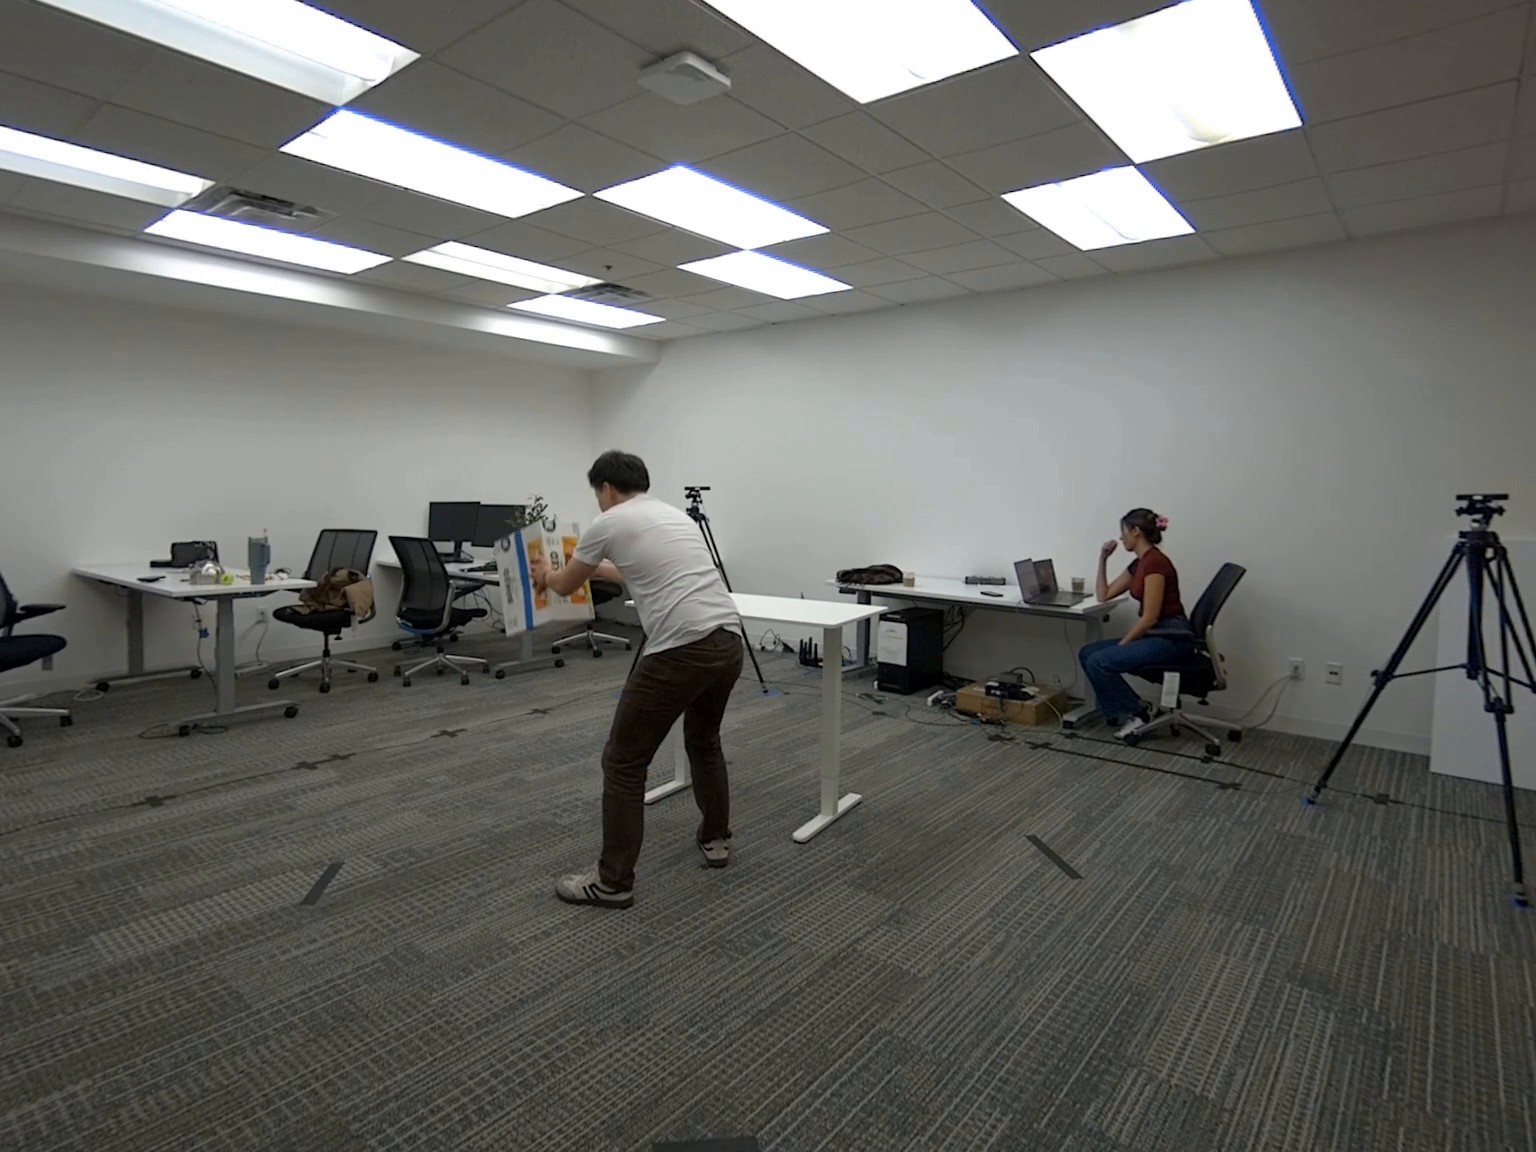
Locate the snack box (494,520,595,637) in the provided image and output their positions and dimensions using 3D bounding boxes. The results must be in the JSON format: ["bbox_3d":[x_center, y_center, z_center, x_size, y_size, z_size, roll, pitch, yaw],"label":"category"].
[{"bbox_3d":[-0.928,0.010,3.483,0.347,0.411,0.199,-20,-15,40],"label":"snack box"}]
